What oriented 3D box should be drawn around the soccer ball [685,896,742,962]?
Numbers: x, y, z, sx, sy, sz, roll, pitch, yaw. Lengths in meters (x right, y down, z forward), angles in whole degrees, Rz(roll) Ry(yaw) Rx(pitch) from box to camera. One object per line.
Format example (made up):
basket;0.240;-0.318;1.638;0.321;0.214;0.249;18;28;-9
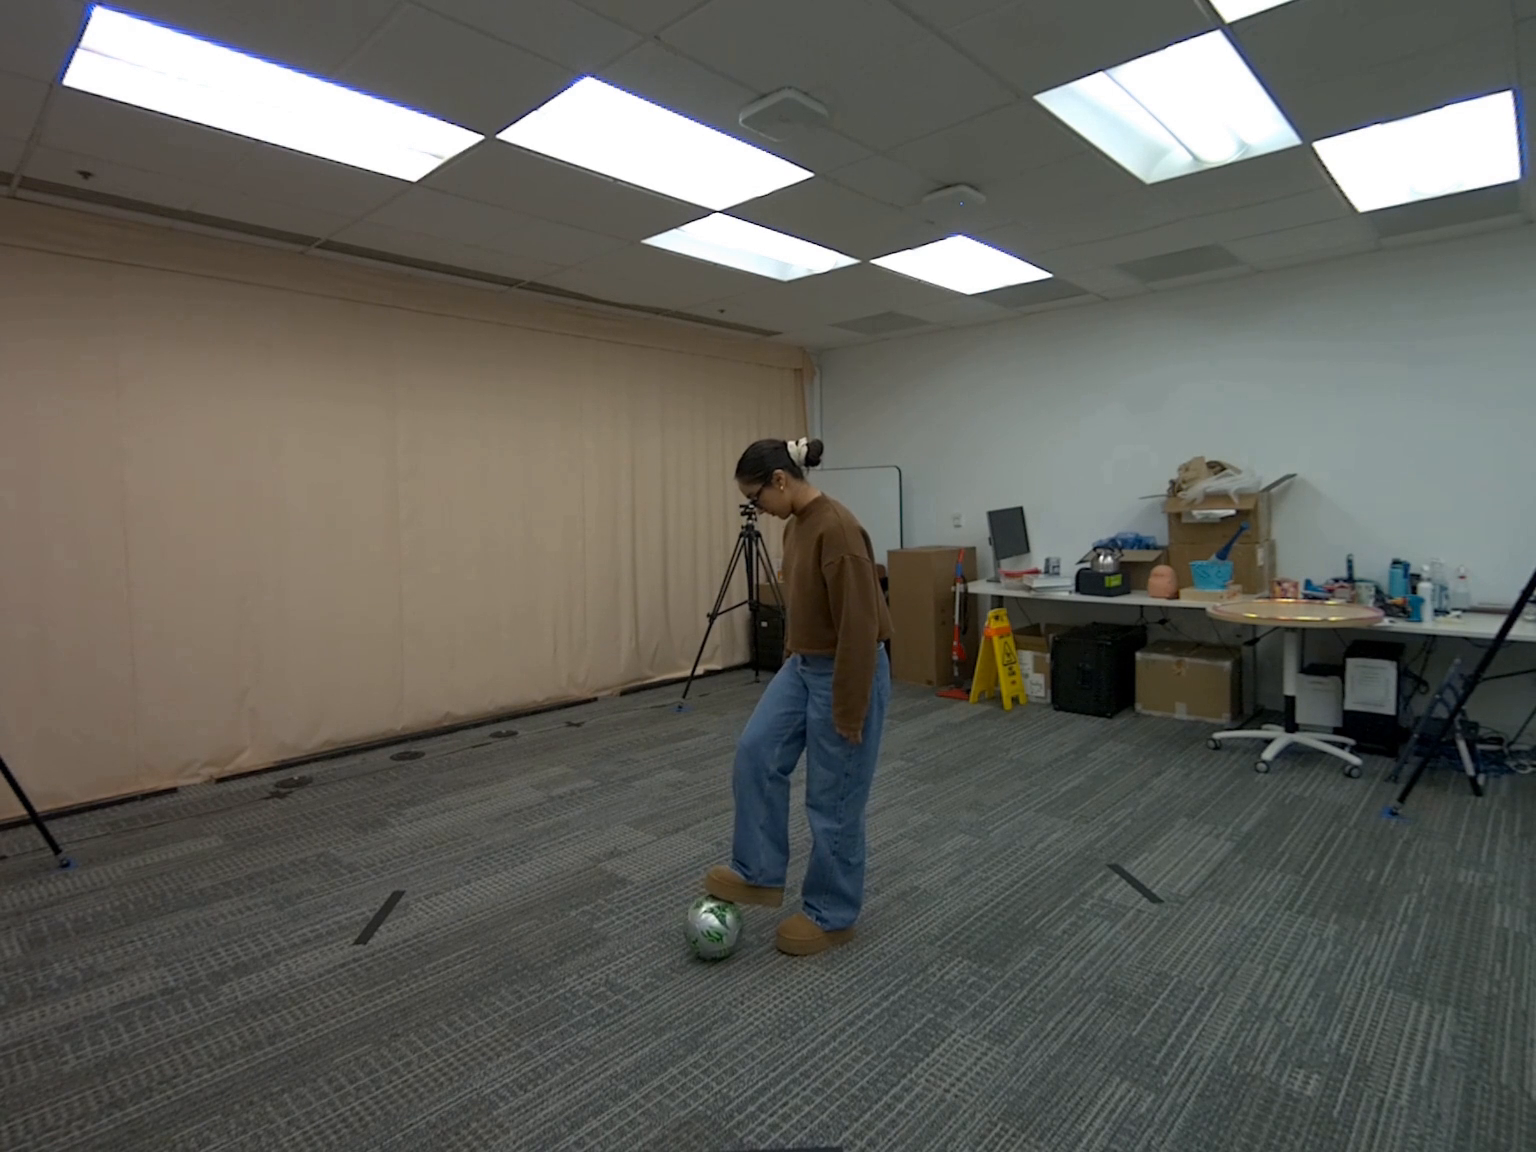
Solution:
soccer ball;-0.167;1.090;2.598;0.187;0.187;0.188;-1;4;-2
